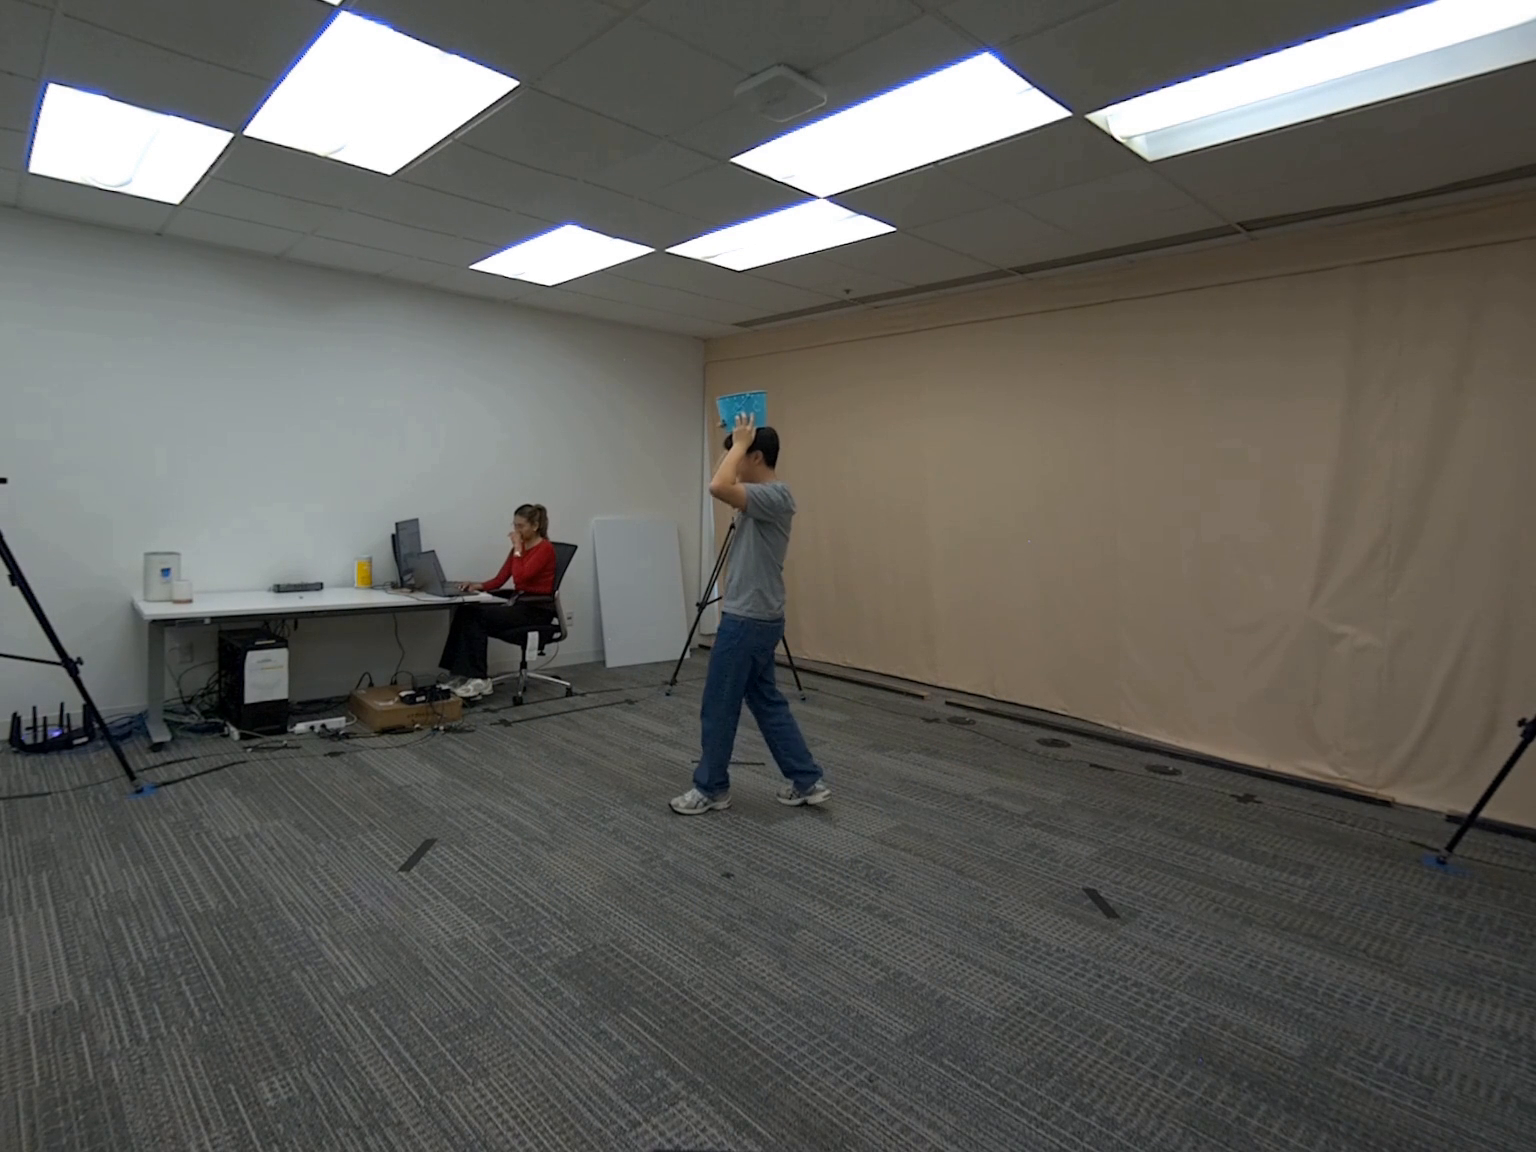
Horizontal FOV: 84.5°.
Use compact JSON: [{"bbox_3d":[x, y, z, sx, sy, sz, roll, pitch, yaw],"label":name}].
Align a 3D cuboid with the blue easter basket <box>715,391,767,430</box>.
[{"bbox_3d":[-0.110,-0.721,3.678,0.243,0.155,0.245,-6,8,-1],"label":"blue easter basket"}]
